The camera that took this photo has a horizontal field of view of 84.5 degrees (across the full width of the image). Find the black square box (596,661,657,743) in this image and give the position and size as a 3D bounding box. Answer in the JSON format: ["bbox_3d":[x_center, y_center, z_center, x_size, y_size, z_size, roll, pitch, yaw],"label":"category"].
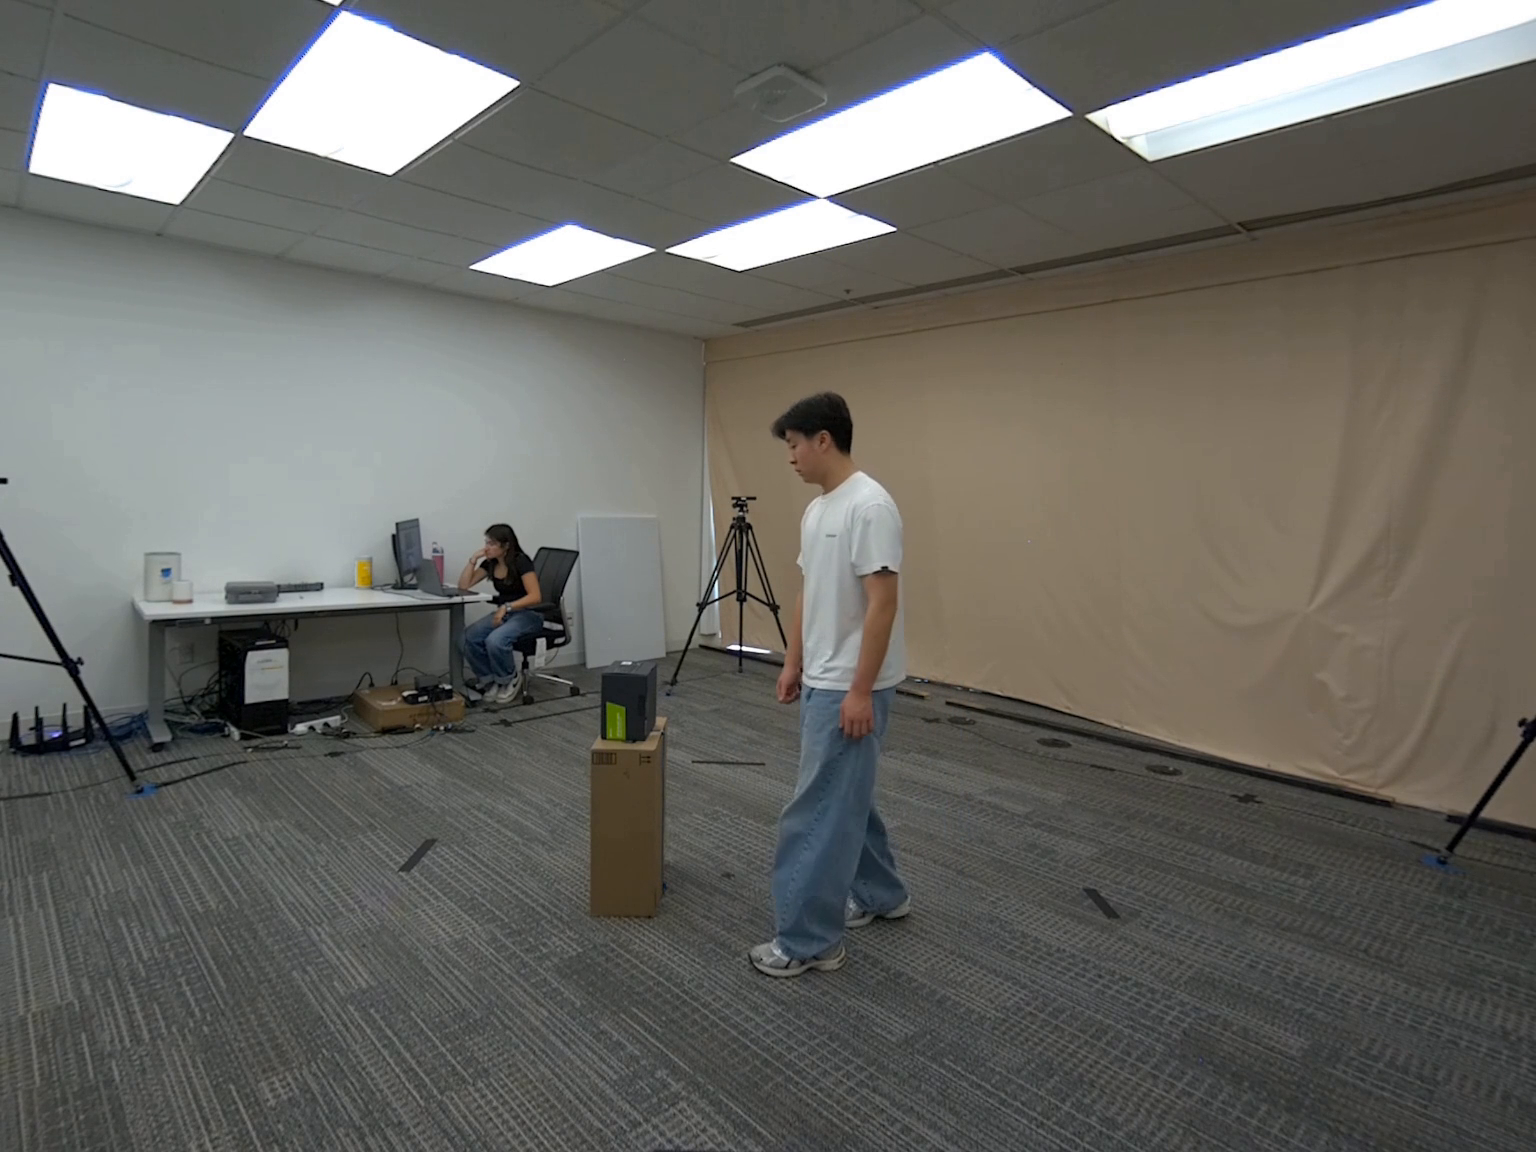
[{"bbox_3d":[-0.490,0.432,2.940,0.156,0.227,0.216,2,3,4],"label":"black square box"}]
